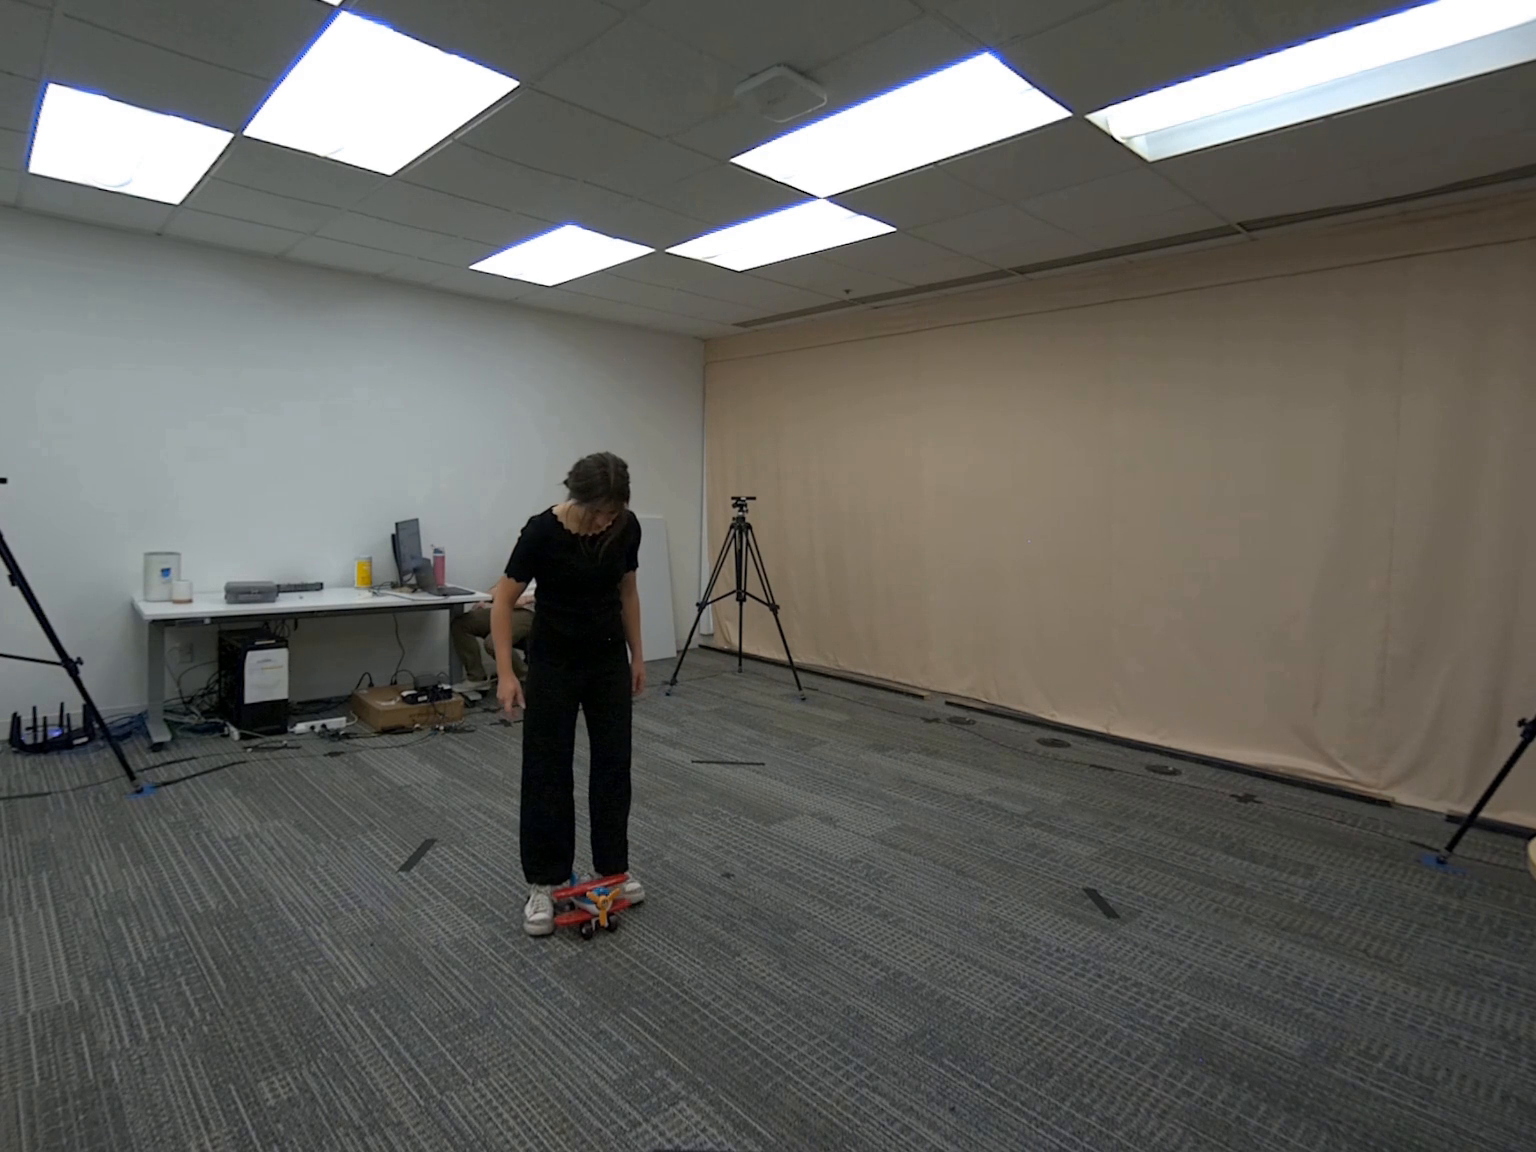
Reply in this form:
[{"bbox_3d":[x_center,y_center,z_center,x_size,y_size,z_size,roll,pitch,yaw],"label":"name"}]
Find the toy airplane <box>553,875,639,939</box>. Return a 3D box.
[{"bbox_3d":[-0.611,1.054,2.724,0.264,0.156,0.247,5,6,26],"label":"toy airplane"}]
